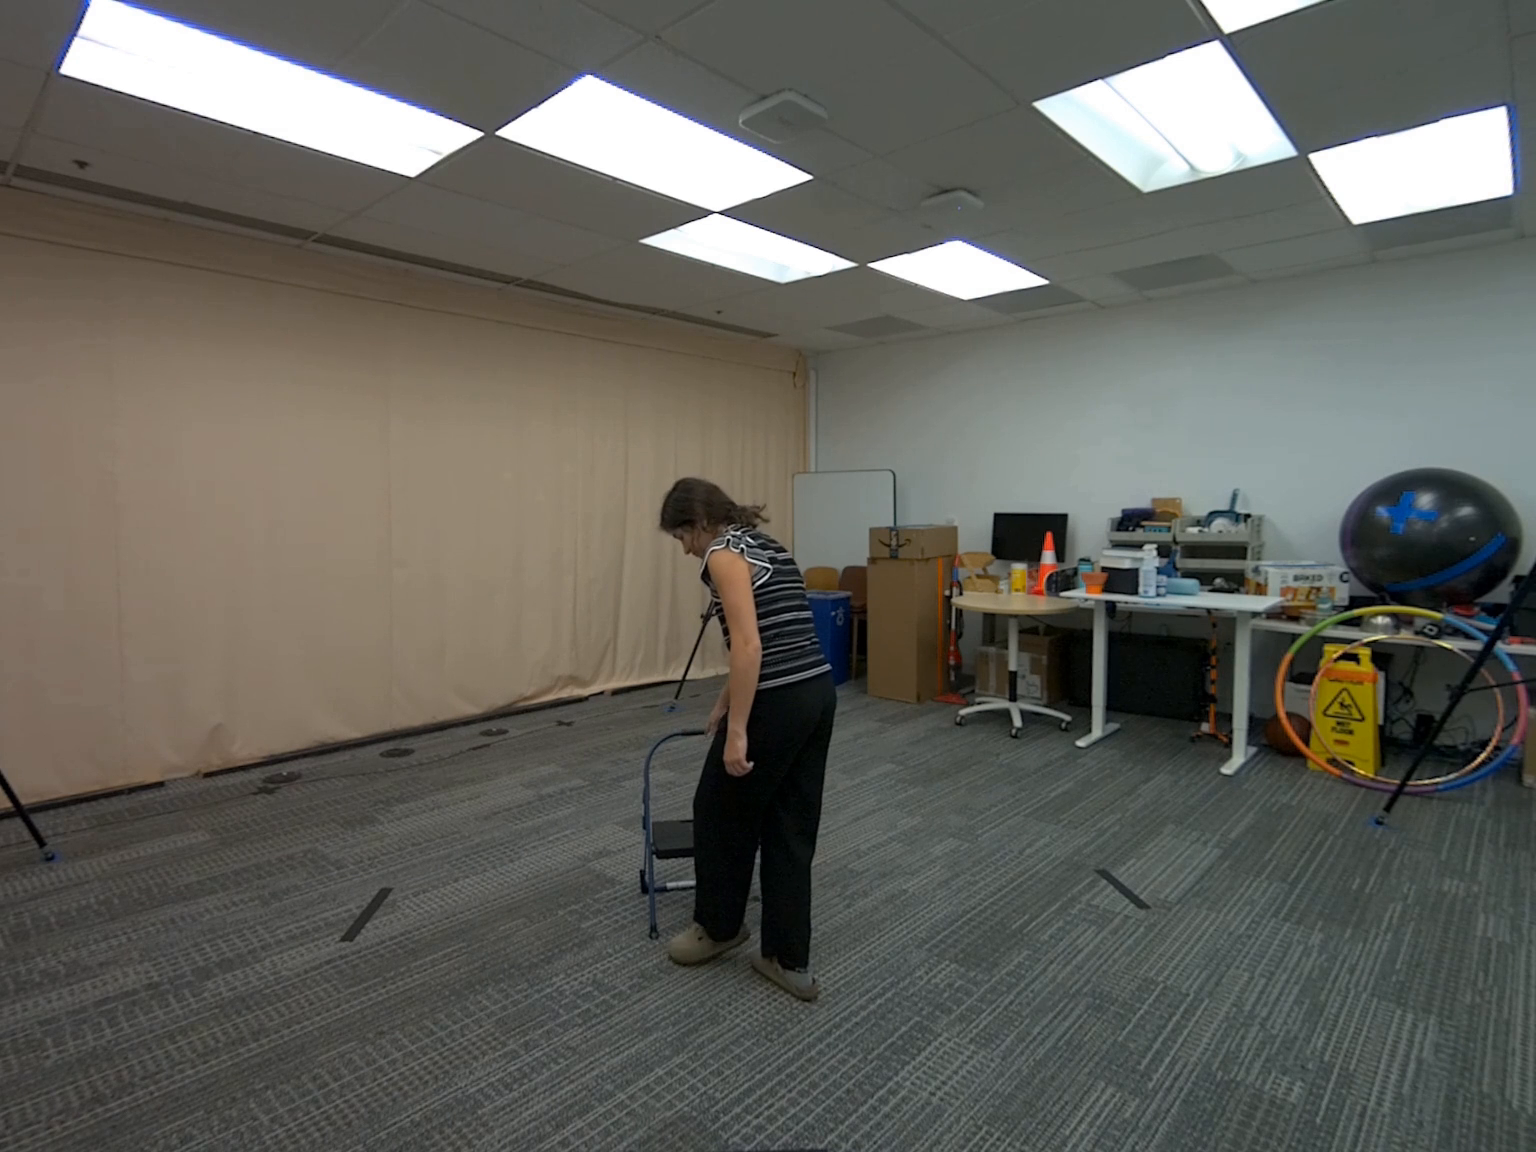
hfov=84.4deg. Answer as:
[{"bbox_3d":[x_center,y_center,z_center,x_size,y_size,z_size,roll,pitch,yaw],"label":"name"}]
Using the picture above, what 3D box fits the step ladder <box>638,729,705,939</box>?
[{"bbox_3d":[-0.220,0.851,2.905,0.425,0.604,0.355,-1,4,-13],"label":"step ladder"}]
